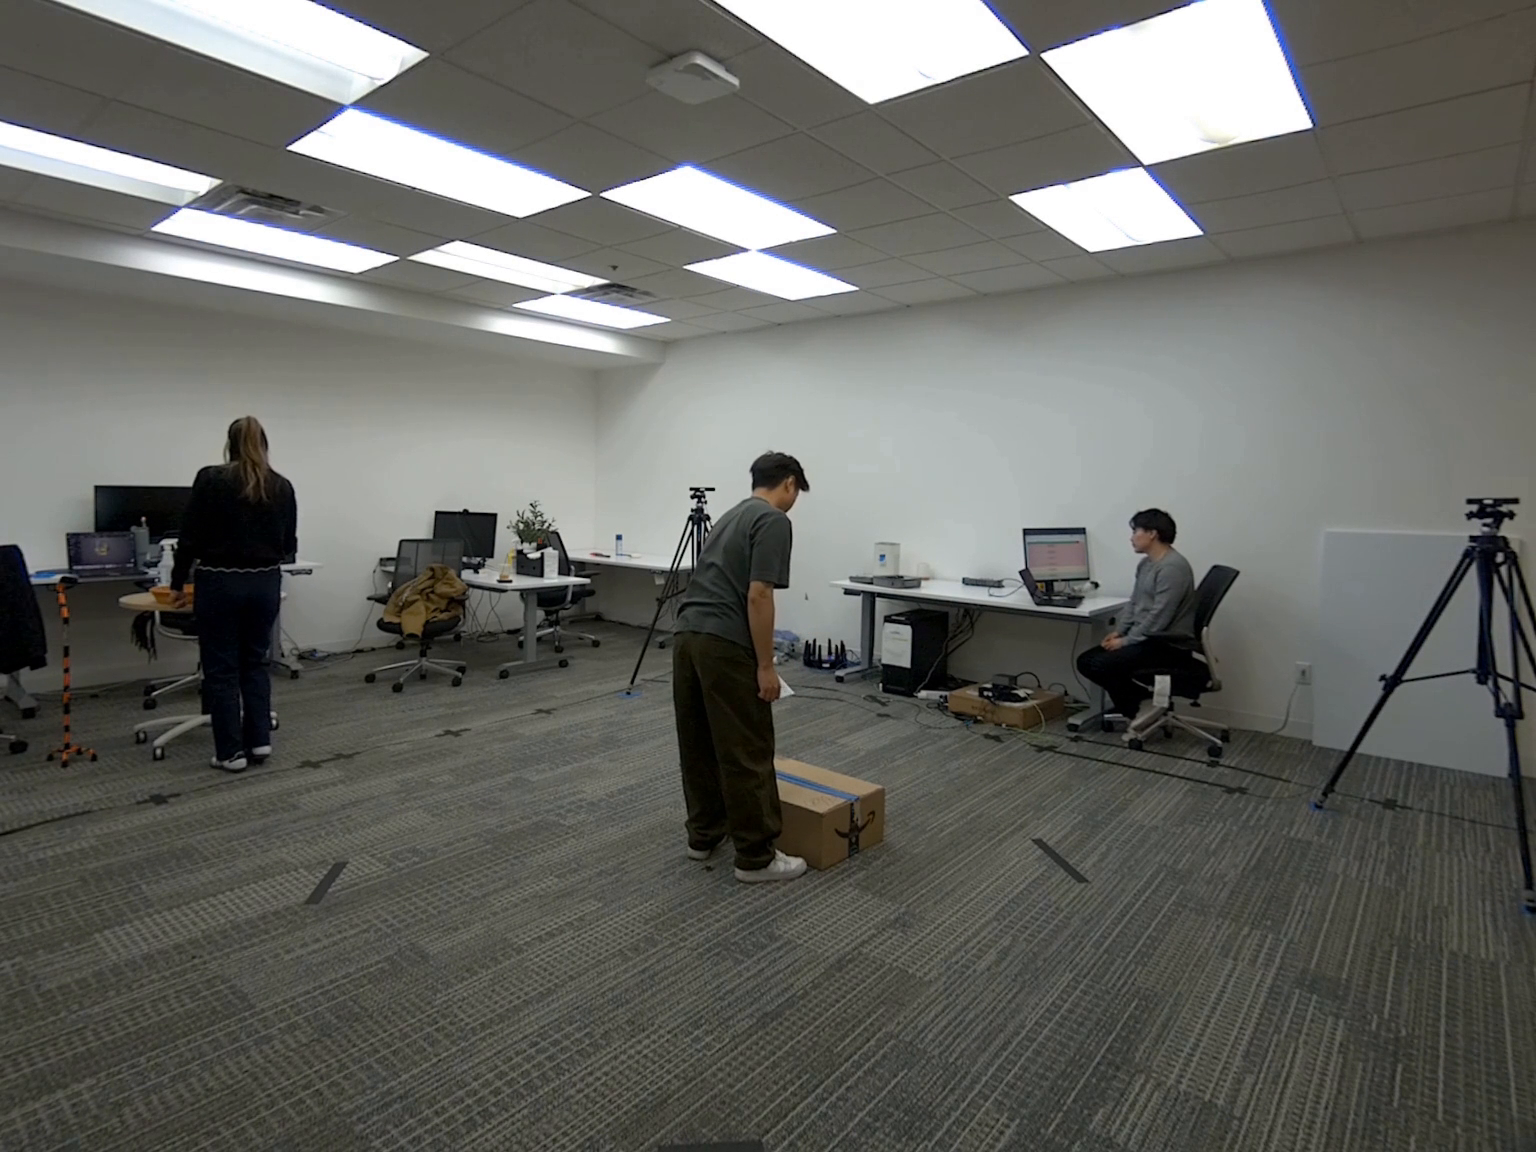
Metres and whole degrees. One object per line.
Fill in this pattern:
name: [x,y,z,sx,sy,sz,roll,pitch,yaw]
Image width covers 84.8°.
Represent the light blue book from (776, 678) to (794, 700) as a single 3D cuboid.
light blue book: [-0.022,0.432,3.415,0.196,0.059,0.254,46,16,18]
